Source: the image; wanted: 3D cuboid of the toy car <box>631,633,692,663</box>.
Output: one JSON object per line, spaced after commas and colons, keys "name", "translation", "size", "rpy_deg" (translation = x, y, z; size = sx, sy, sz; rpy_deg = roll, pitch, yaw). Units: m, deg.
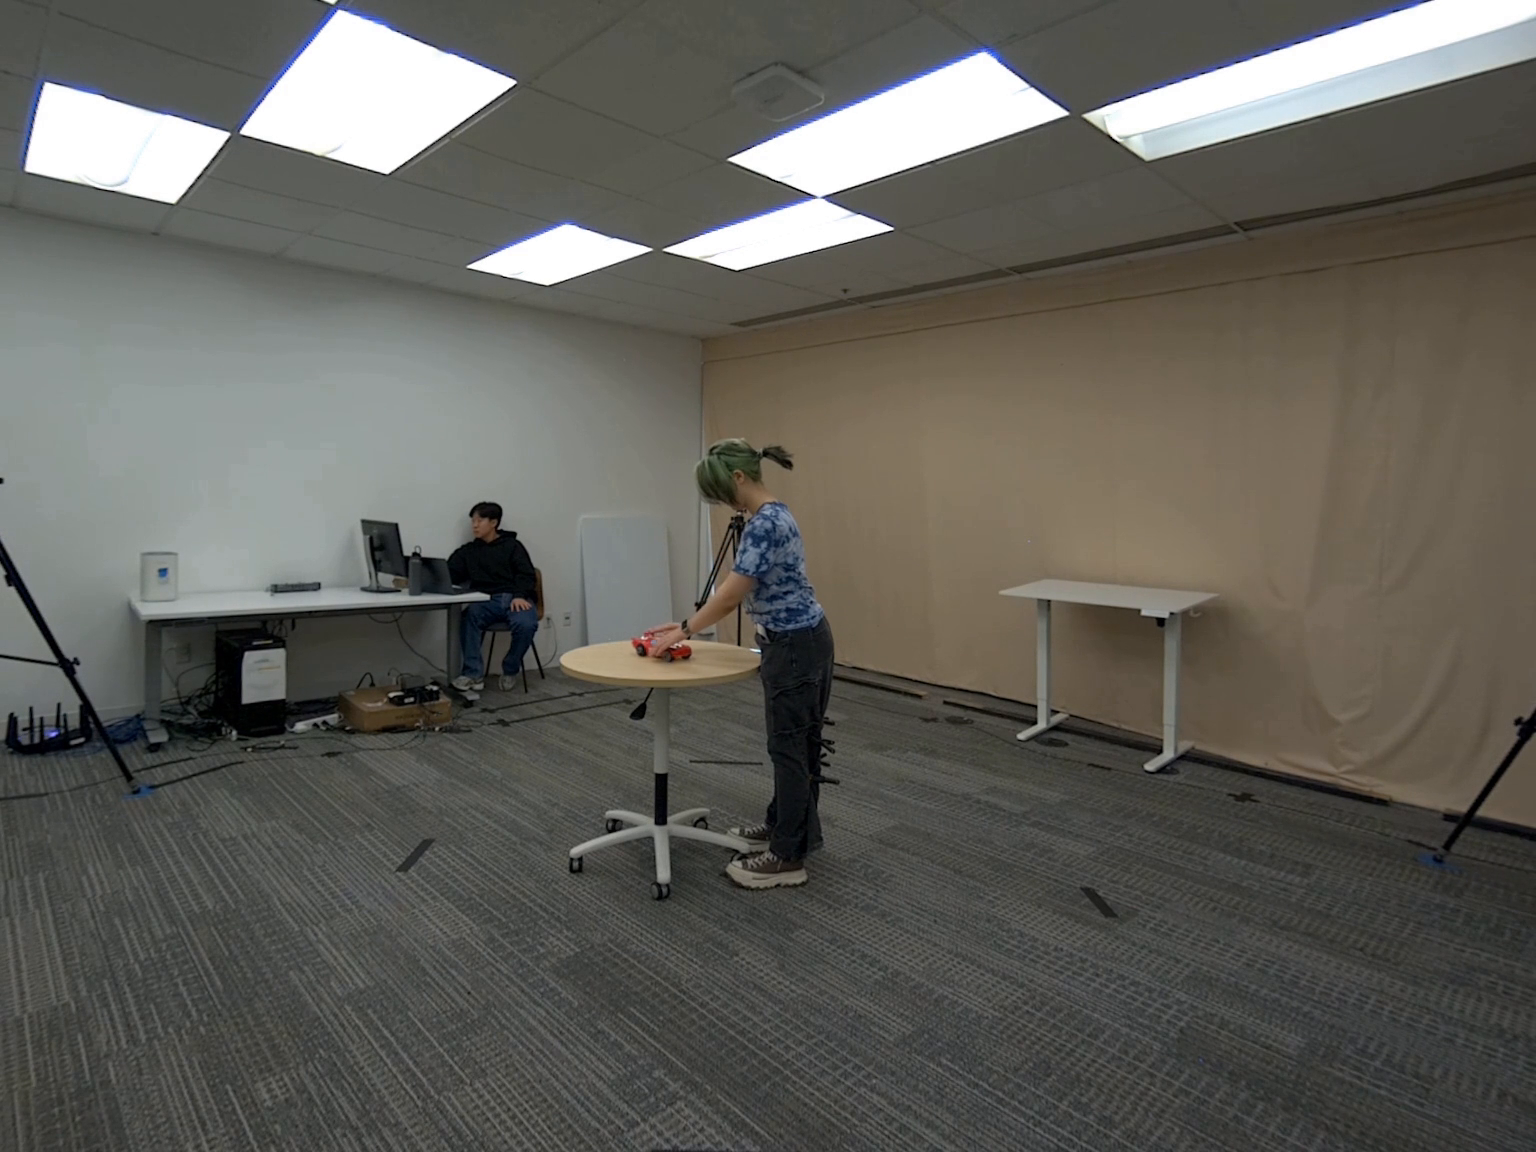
{"name": "toy car", "translation": [-0.415, 0.272, 3.198], "size": [0.262, 0.082, 0.127], "rpy_deg": [18, 15, 40]}
